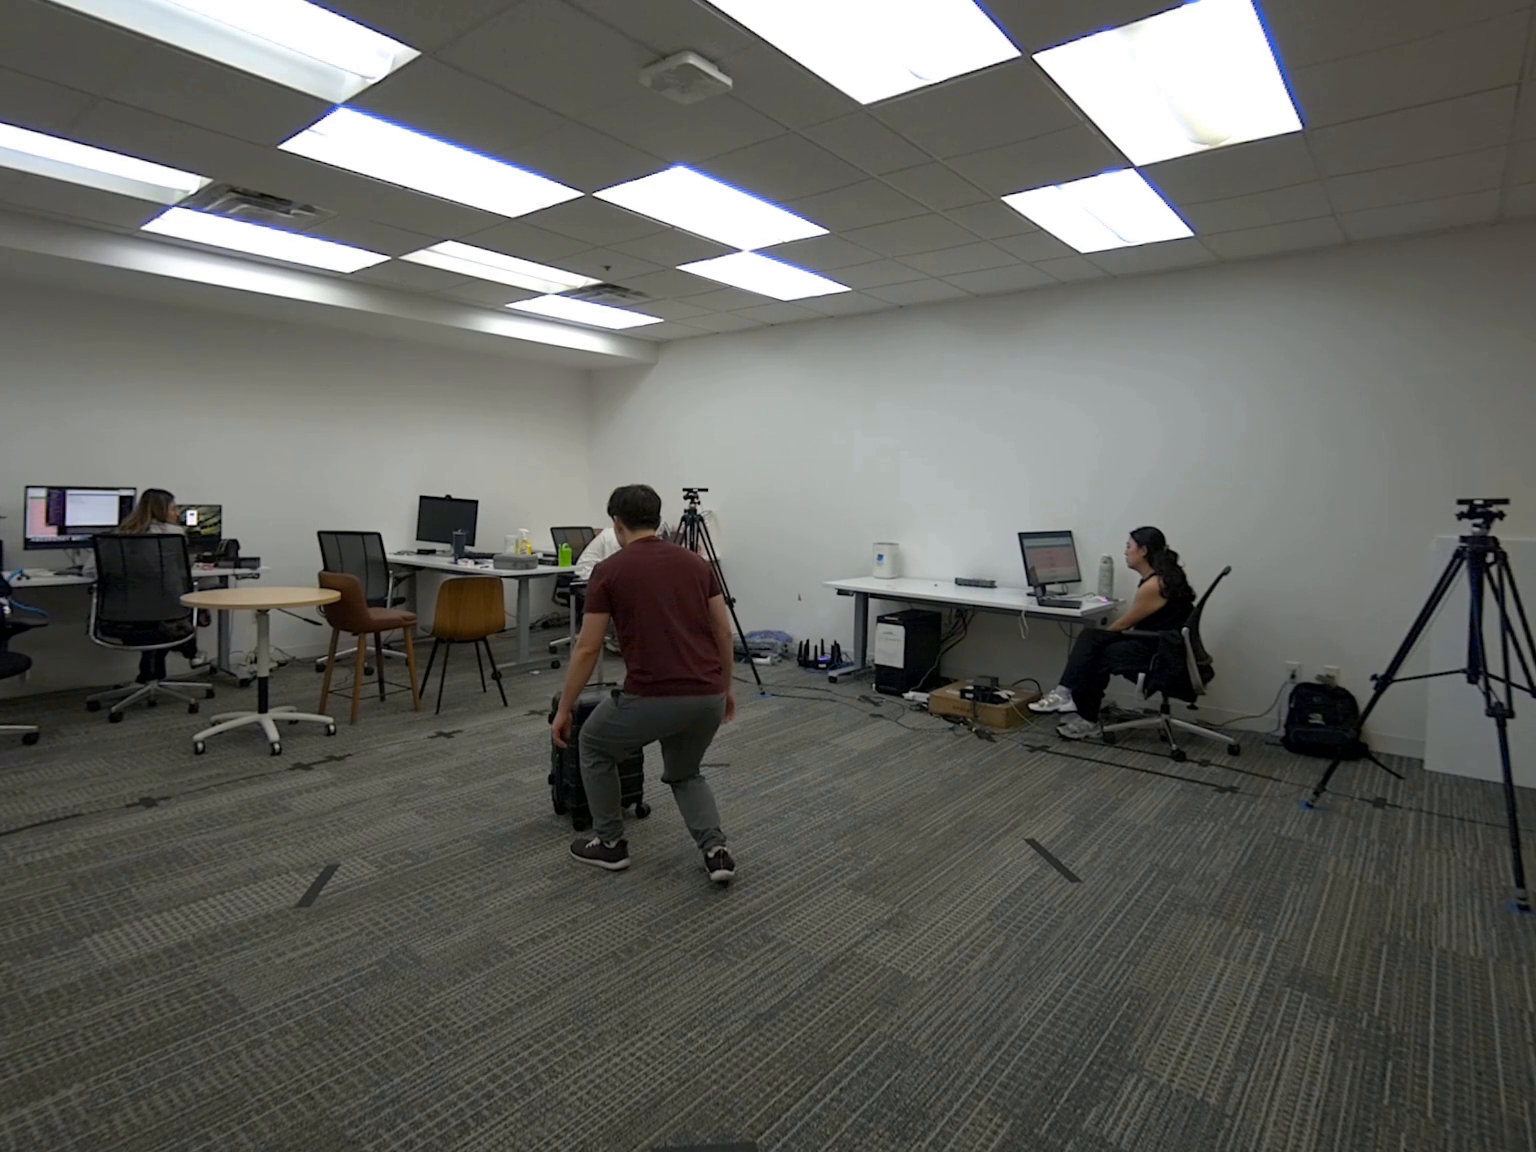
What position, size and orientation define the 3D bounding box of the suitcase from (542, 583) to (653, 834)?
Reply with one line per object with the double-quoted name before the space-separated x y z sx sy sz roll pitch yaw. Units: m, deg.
"suitcase" -0.729 0.531 3.591 0.373 0.975 0.265 -2 4 -33
